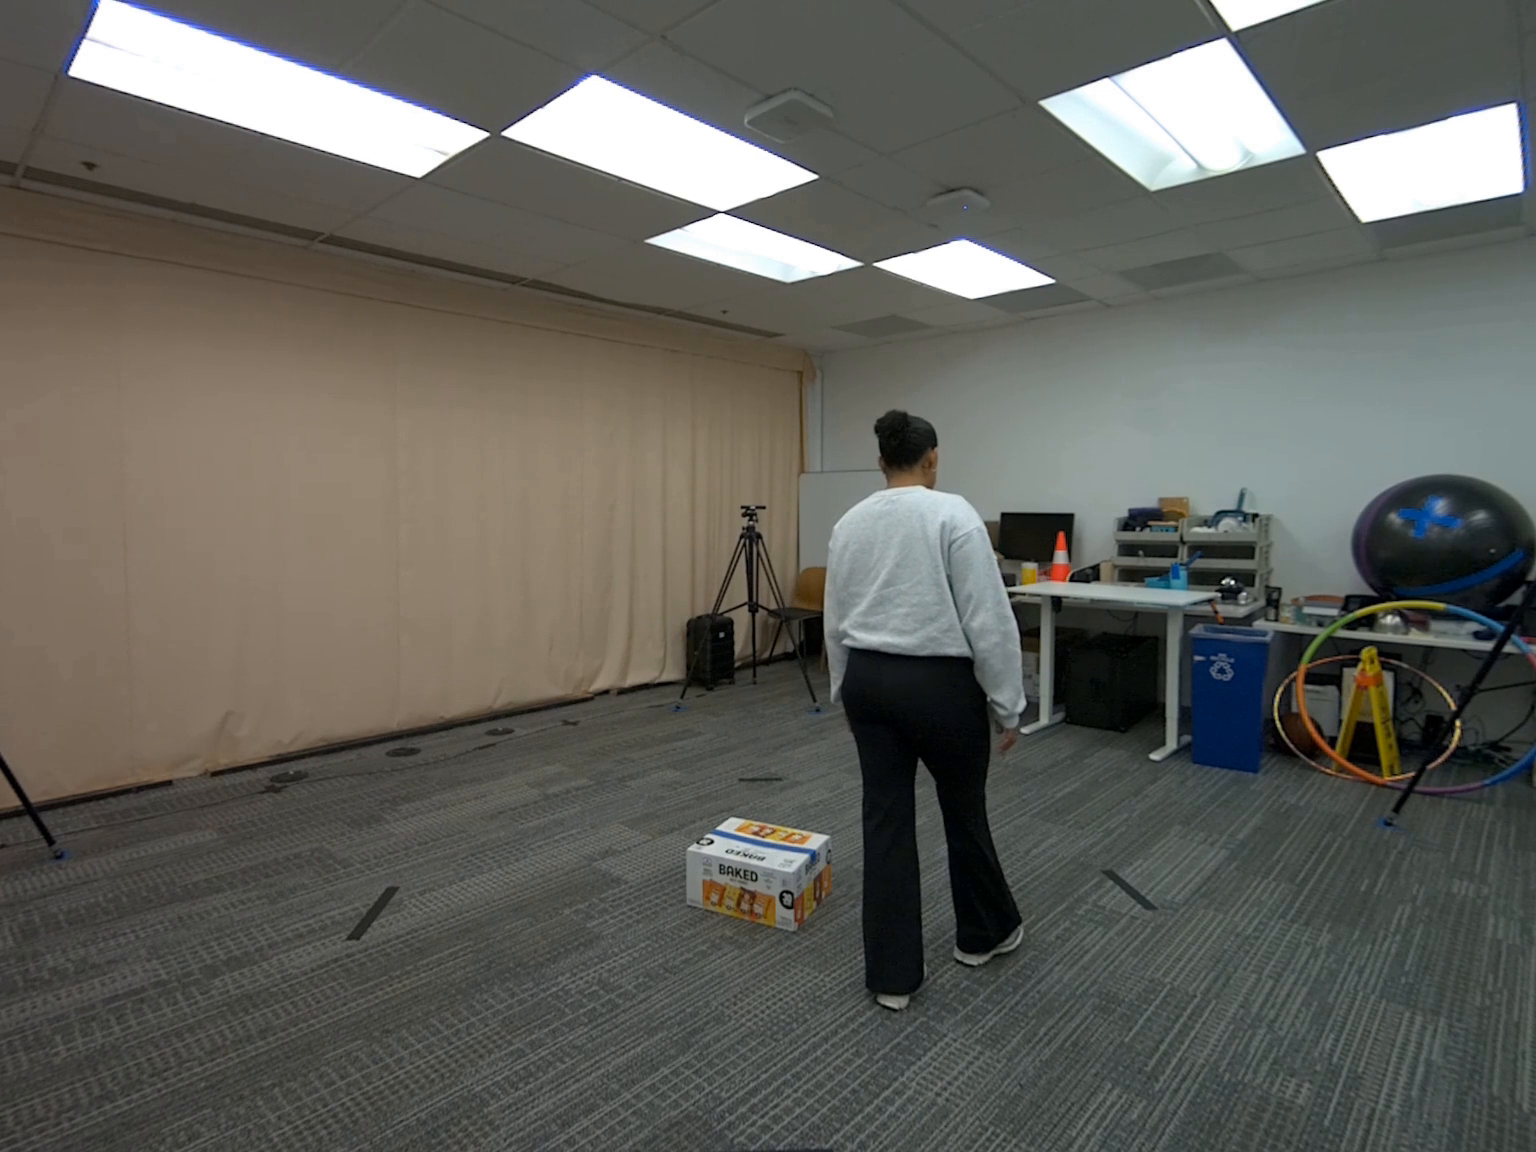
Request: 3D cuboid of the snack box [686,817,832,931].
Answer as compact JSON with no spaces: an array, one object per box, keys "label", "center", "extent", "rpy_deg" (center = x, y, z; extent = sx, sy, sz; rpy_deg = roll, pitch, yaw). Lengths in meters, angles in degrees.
[{"label":"snack box","center":[-0.024,1.042,2.978],"extent":[0.416,0.205,0.332],"rpy_deg":[2,5,27]}]
